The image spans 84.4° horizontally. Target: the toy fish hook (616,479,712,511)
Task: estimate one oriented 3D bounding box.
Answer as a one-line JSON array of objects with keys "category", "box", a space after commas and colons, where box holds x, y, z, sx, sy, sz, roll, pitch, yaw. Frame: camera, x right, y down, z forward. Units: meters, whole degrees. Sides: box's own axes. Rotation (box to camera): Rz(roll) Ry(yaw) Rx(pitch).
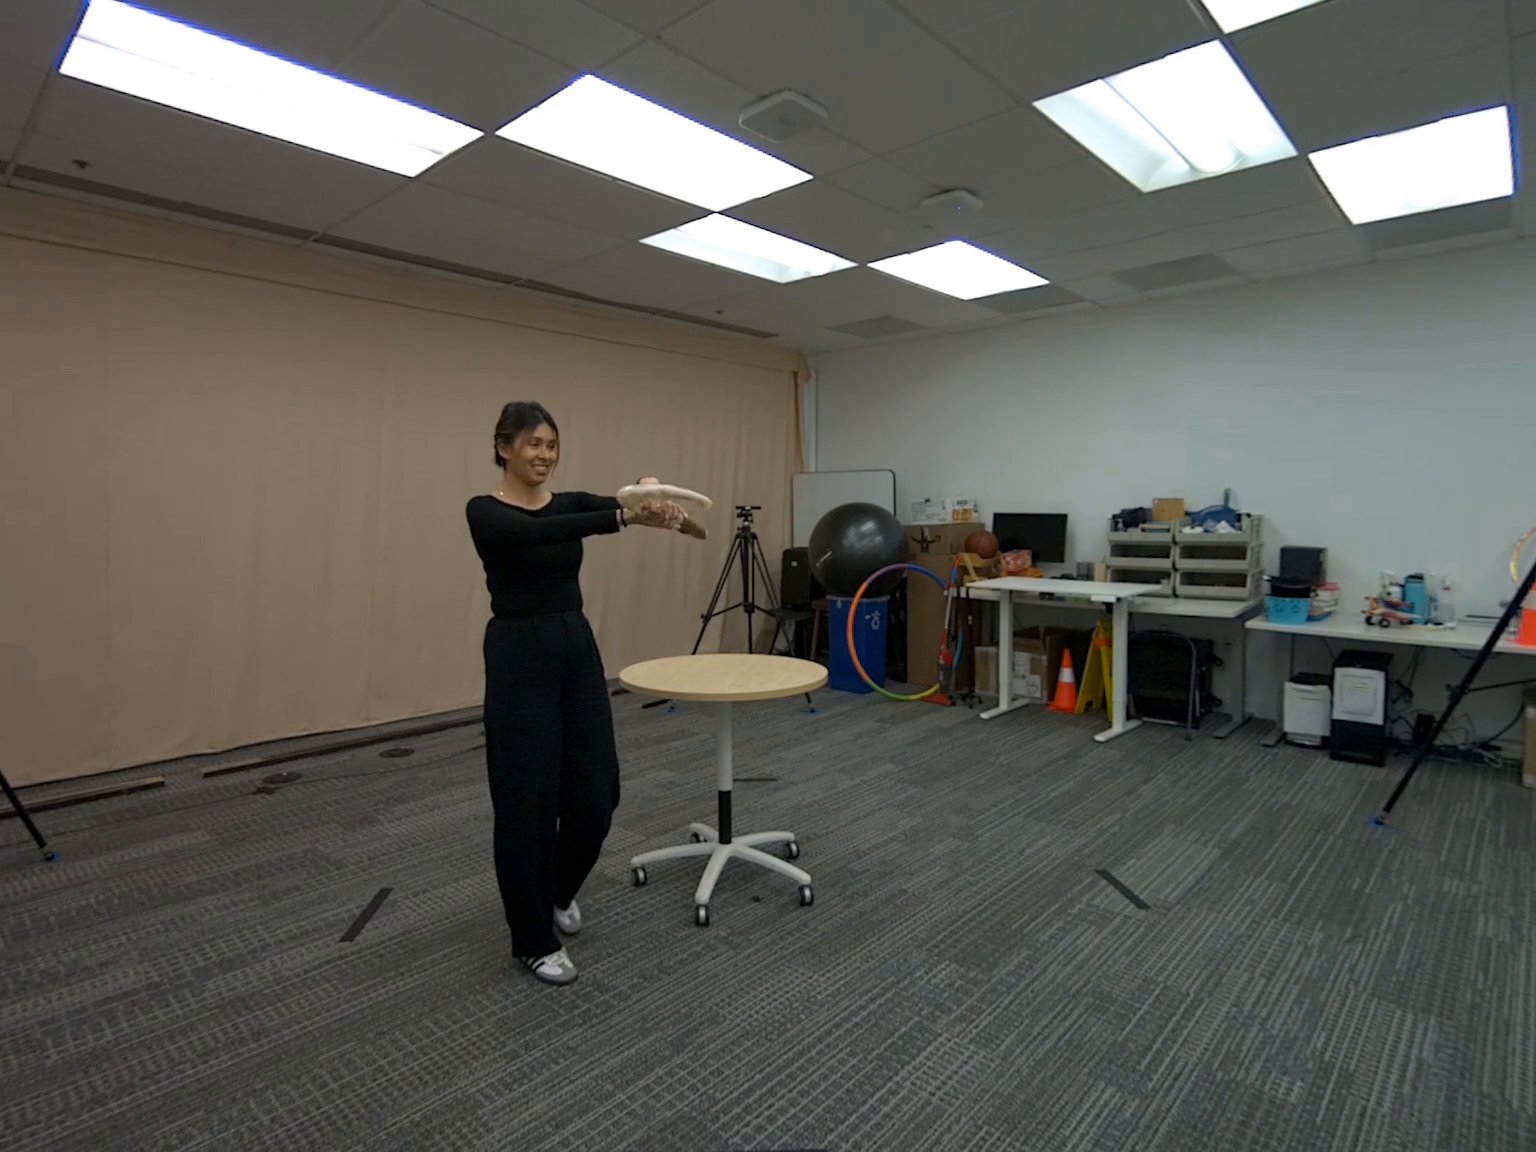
[{"category": "toy fish hook", "box": [-0.216, -0.153, 2.219, 0.229, 0.048, 0.494, 2, -11, 15]}]
